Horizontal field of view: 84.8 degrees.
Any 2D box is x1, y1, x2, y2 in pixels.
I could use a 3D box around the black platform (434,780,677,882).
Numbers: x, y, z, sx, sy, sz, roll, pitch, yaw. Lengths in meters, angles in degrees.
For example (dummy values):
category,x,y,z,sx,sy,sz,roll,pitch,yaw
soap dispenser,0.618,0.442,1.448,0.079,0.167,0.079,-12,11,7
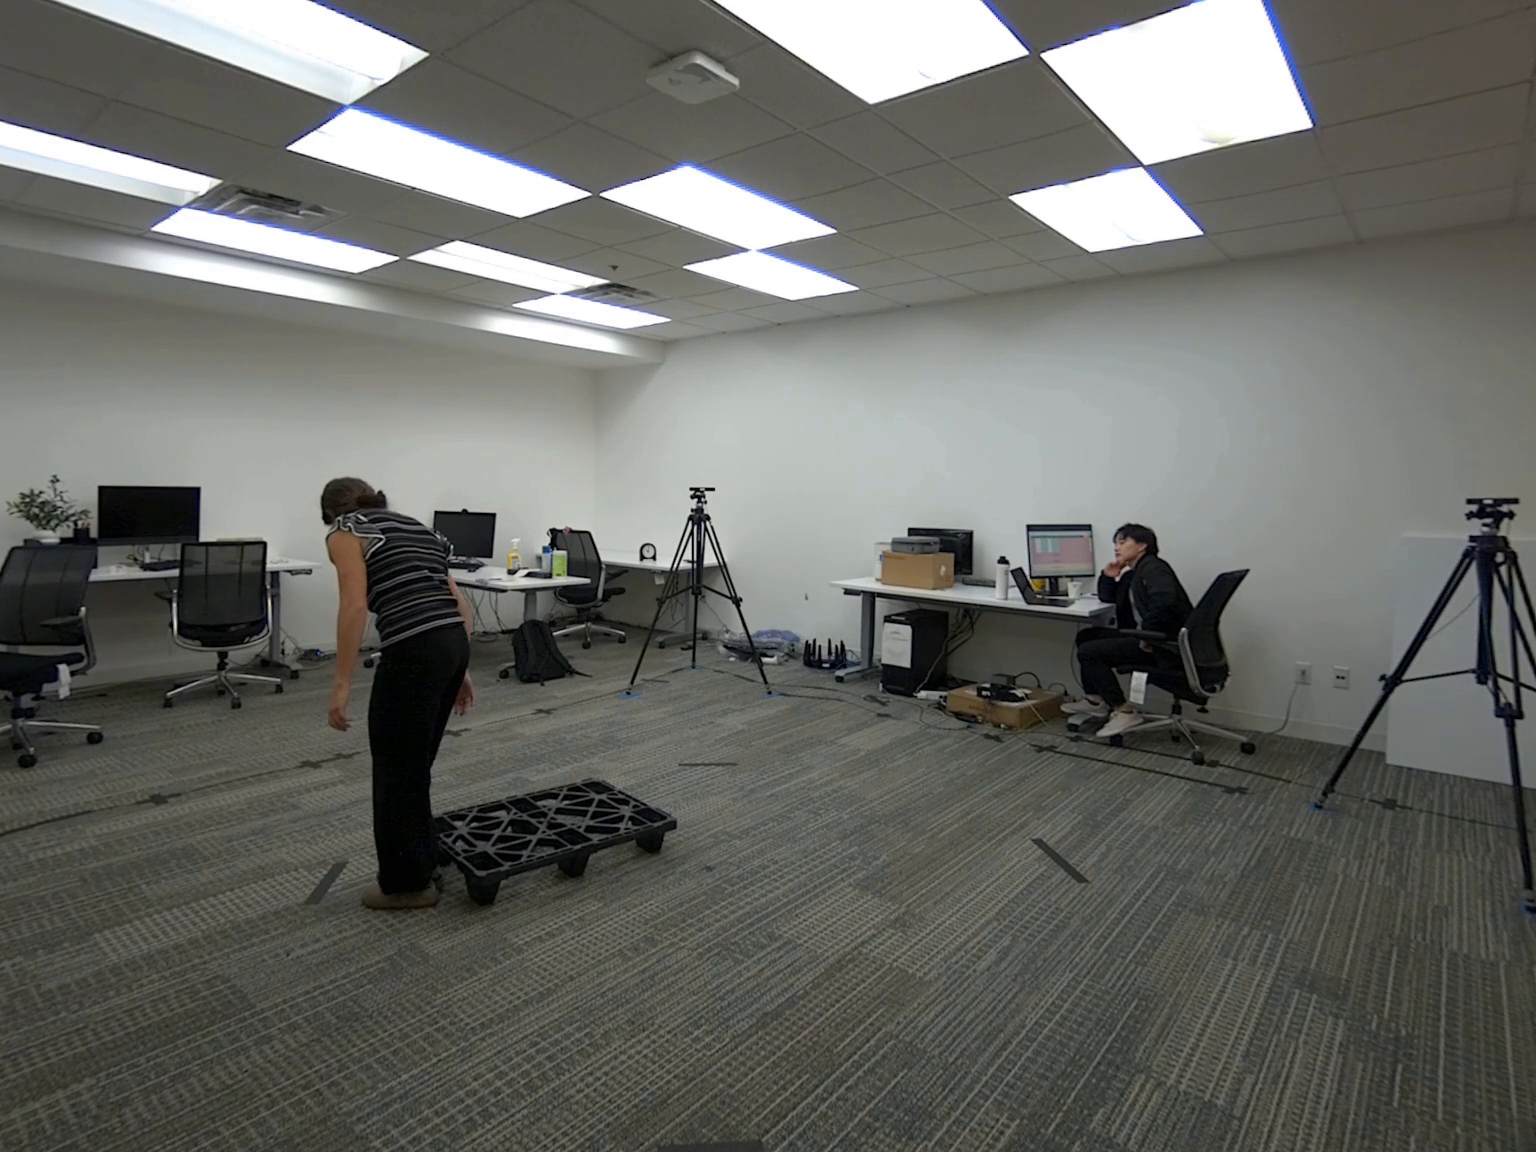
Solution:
category,x,y,z,sx,sy,sz,roll,pitch,yaw
black platform,-0.850,0.978,3.207,0.781,0.143,0.625,-4,6,-41
